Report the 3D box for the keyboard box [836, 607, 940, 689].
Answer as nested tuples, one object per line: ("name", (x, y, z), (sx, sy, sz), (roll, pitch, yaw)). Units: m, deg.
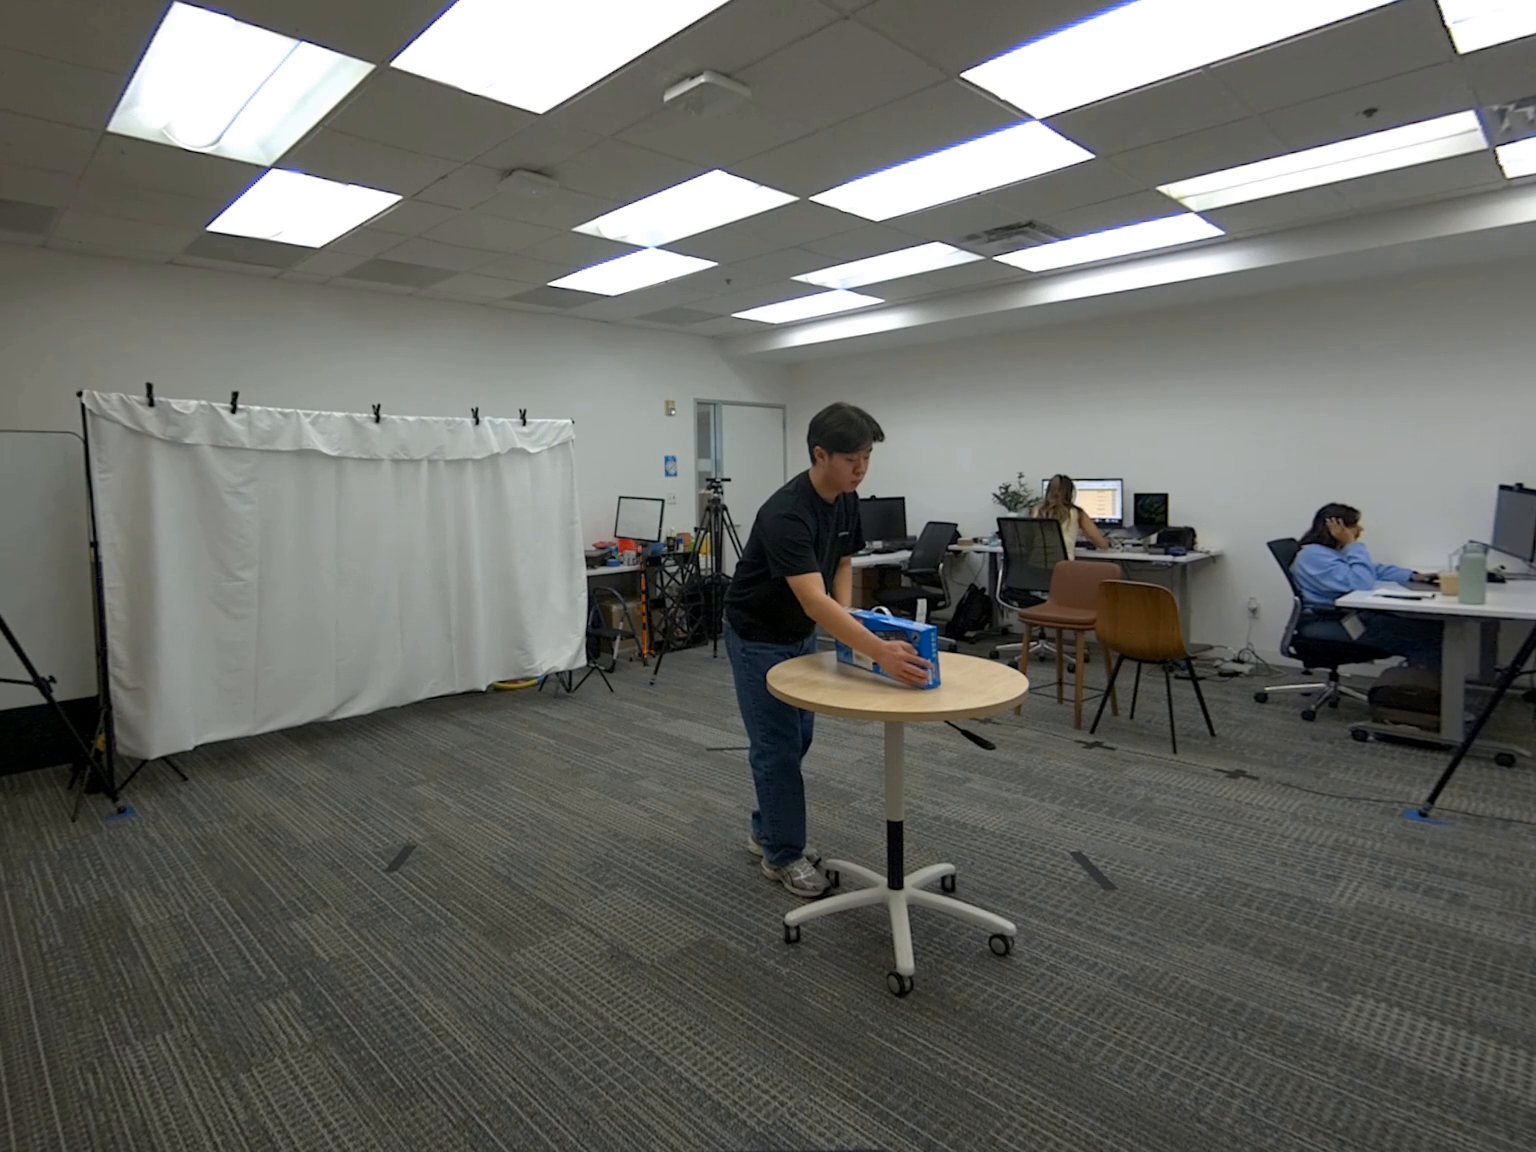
("keyboard box", (0.353, 0.216, 2.584), (0.058, 0.175, 0.449), (-8, 9, -28))
